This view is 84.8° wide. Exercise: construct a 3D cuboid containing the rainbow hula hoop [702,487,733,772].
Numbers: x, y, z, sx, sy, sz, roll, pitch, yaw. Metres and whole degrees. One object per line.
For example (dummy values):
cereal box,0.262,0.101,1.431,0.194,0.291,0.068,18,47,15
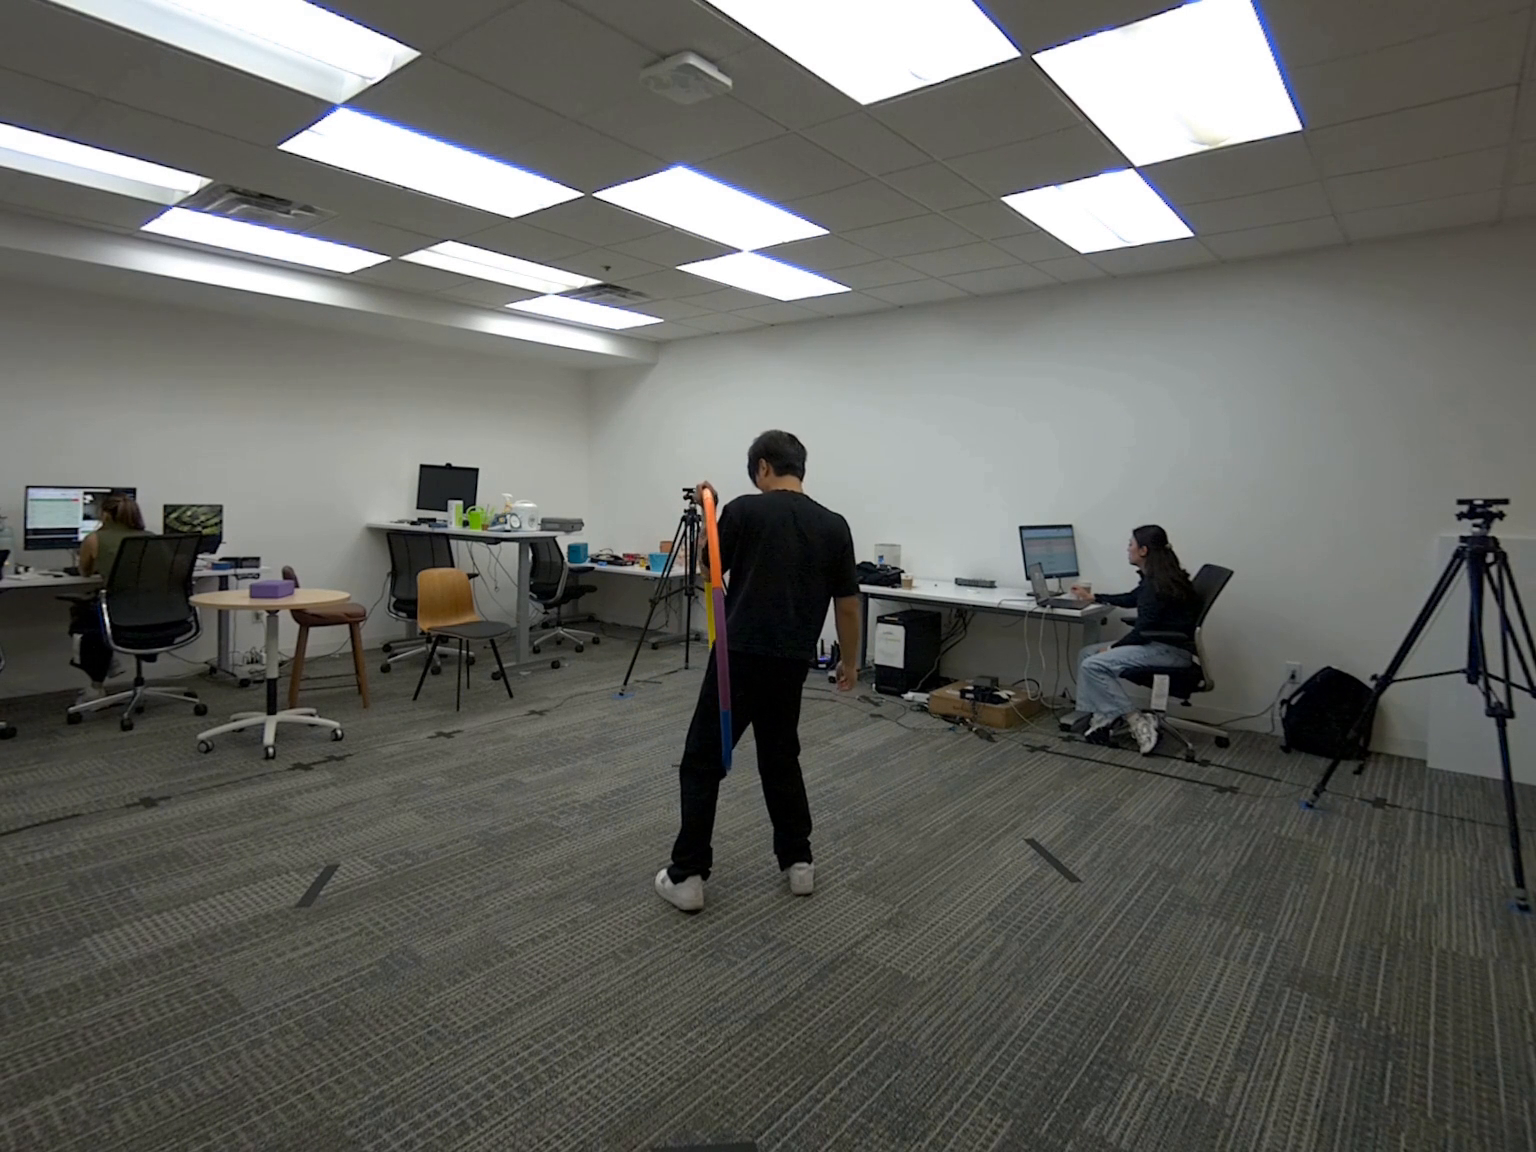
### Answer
rainbow hula hoop,-0.200,0.173,3.023,0.035,0.975,0.988,-4,5,-7
